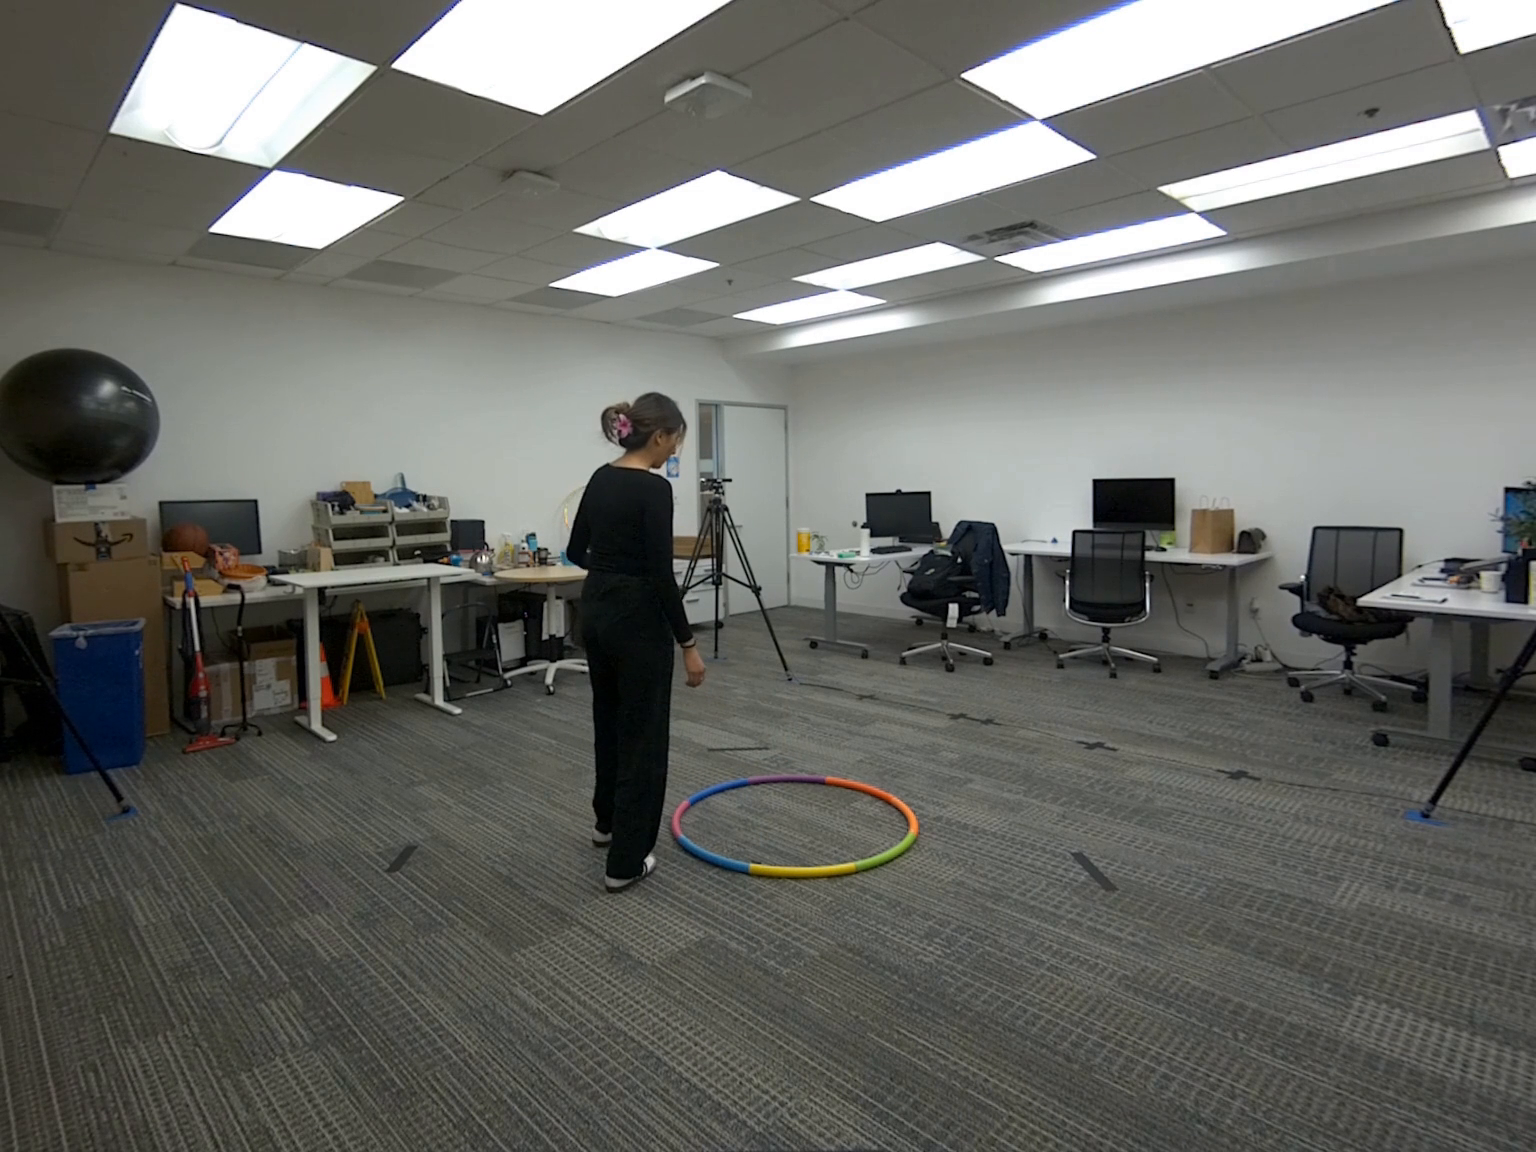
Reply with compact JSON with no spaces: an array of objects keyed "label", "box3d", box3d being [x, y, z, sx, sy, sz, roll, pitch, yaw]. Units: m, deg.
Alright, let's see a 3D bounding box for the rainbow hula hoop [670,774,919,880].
[{"label":"rainbow hula hoop","box3d":[0.100,0.973,3.459,0.978,0.035,0.984,-1,6,-2]}]
